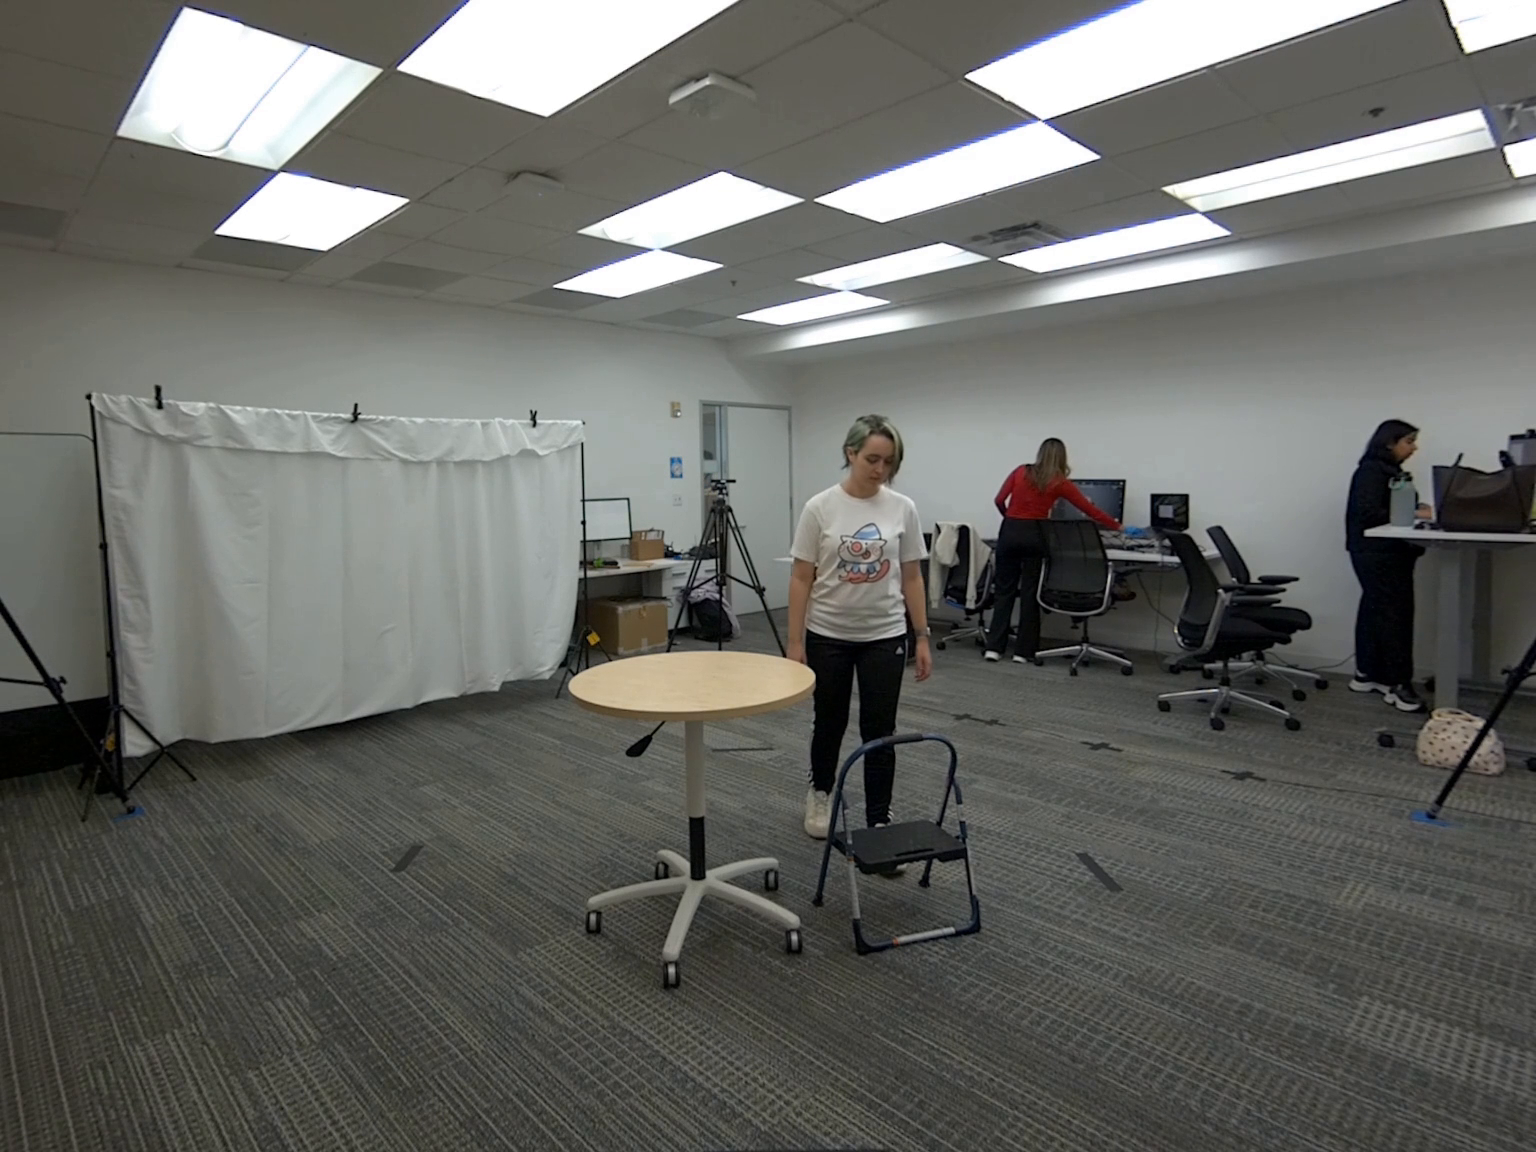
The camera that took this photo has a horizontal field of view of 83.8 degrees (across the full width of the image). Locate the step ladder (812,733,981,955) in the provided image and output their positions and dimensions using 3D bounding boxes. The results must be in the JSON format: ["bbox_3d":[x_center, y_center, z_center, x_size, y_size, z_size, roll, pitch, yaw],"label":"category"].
[{"bbox_3d":[0.399,0.786,2.701,0.423,0.604,0.356,-3,5,-19],"label":"step ladder"}]
